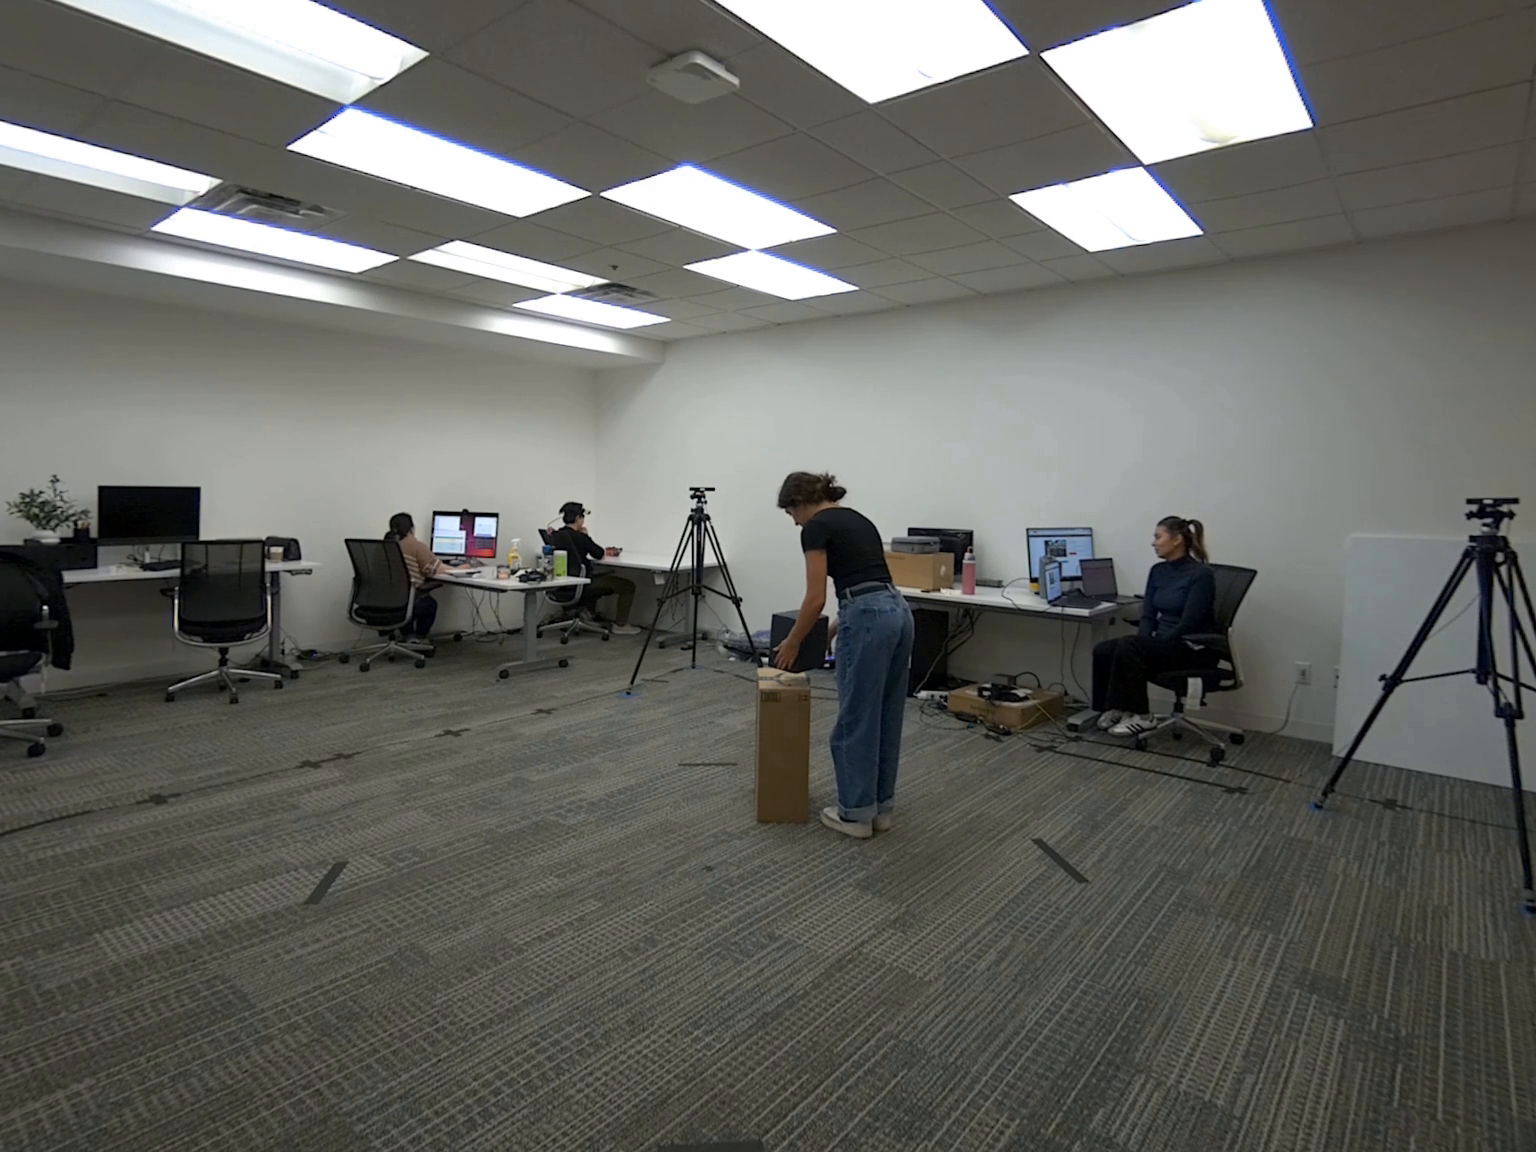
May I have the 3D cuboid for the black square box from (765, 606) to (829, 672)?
[{"bbox_3d":[0.125,0.268,3.666,0.161,0.226,0.210,10,9,38],"label":"black square box"}]
